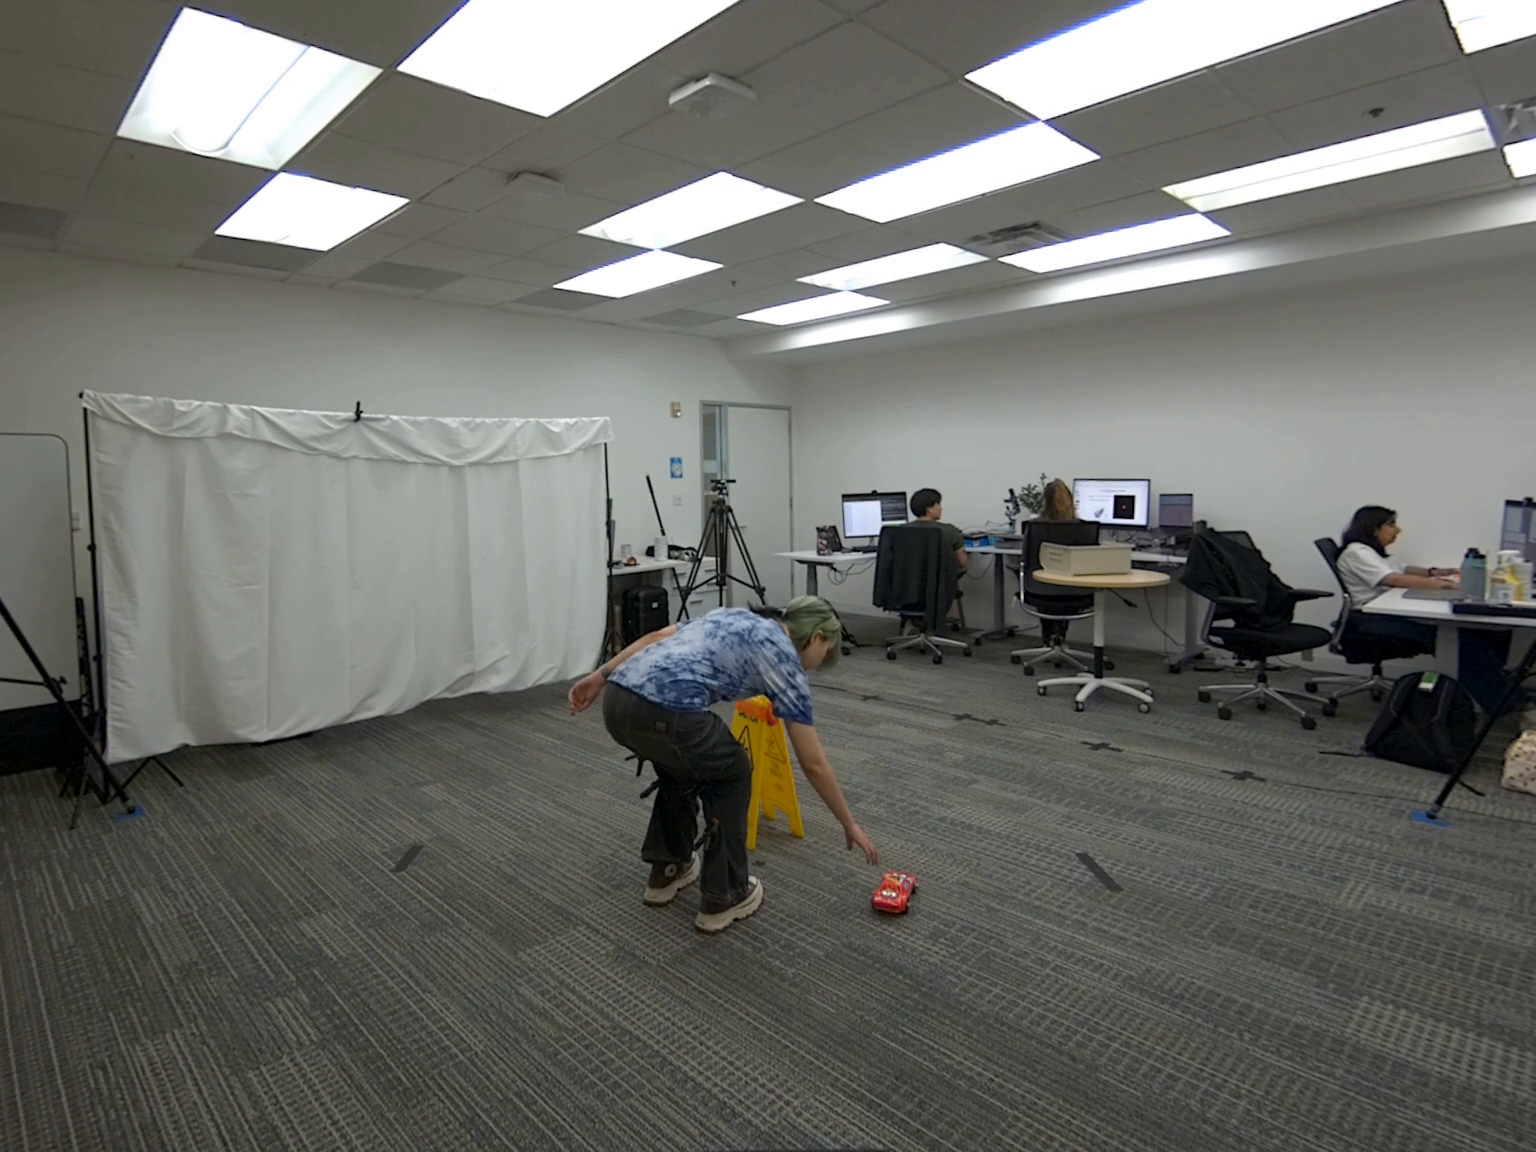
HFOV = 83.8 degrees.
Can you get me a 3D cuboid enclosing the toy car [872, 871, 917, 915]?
[{"bbox_3d":[0.414,1.037,2.798,0.133,0.083,0.248,3,-4,22],"label":"toy car"}]
